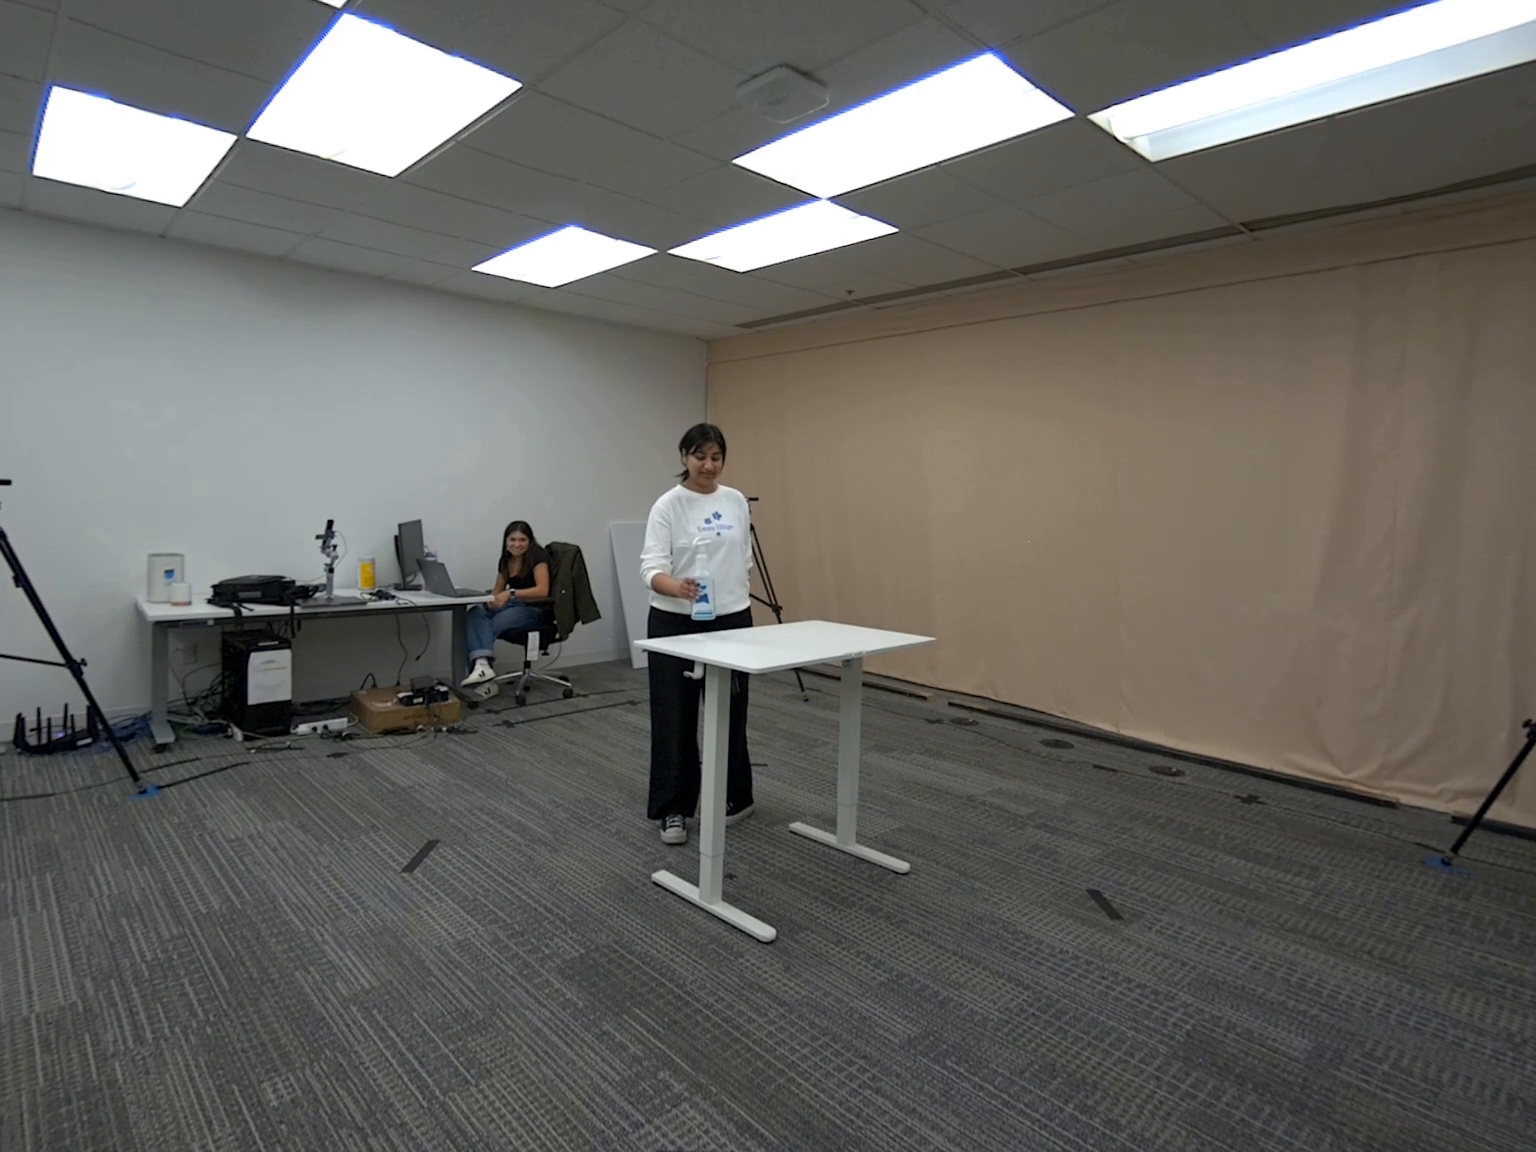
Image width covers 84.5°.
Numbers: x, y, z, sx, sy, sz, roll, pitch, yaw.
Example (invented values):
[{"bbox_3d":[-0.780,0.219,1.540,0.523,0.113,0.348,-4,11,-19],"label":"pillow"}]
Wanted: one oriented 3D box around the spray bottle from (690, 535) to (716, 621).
[{"bbox_3d":[-0.247,0.011,3.009,0.088,0.298,0.088,1,-2,-25],"label":"spray bottle"}]
